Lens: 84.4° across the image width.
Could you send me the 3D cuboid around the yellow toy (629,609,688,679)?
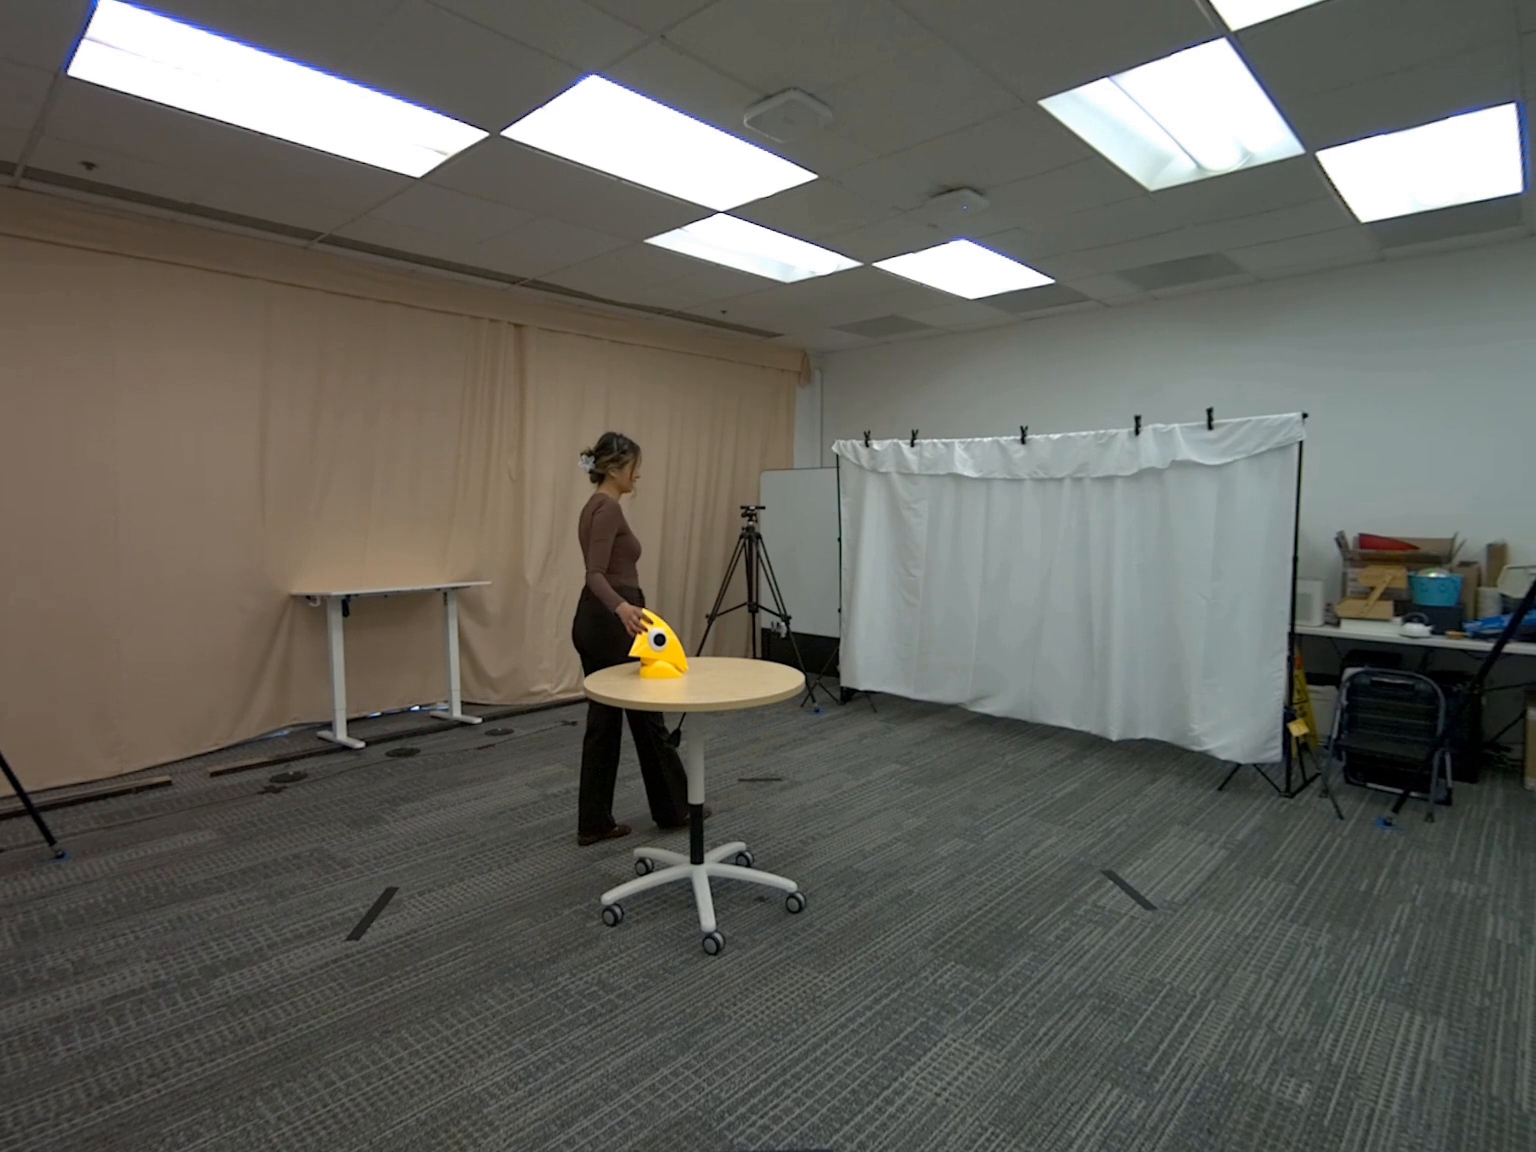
[{"bbox_3d":[-0.383,0.233,3.015,0.195,0.230,0.204,-1,4,7],"label":"yellow toy"}]
